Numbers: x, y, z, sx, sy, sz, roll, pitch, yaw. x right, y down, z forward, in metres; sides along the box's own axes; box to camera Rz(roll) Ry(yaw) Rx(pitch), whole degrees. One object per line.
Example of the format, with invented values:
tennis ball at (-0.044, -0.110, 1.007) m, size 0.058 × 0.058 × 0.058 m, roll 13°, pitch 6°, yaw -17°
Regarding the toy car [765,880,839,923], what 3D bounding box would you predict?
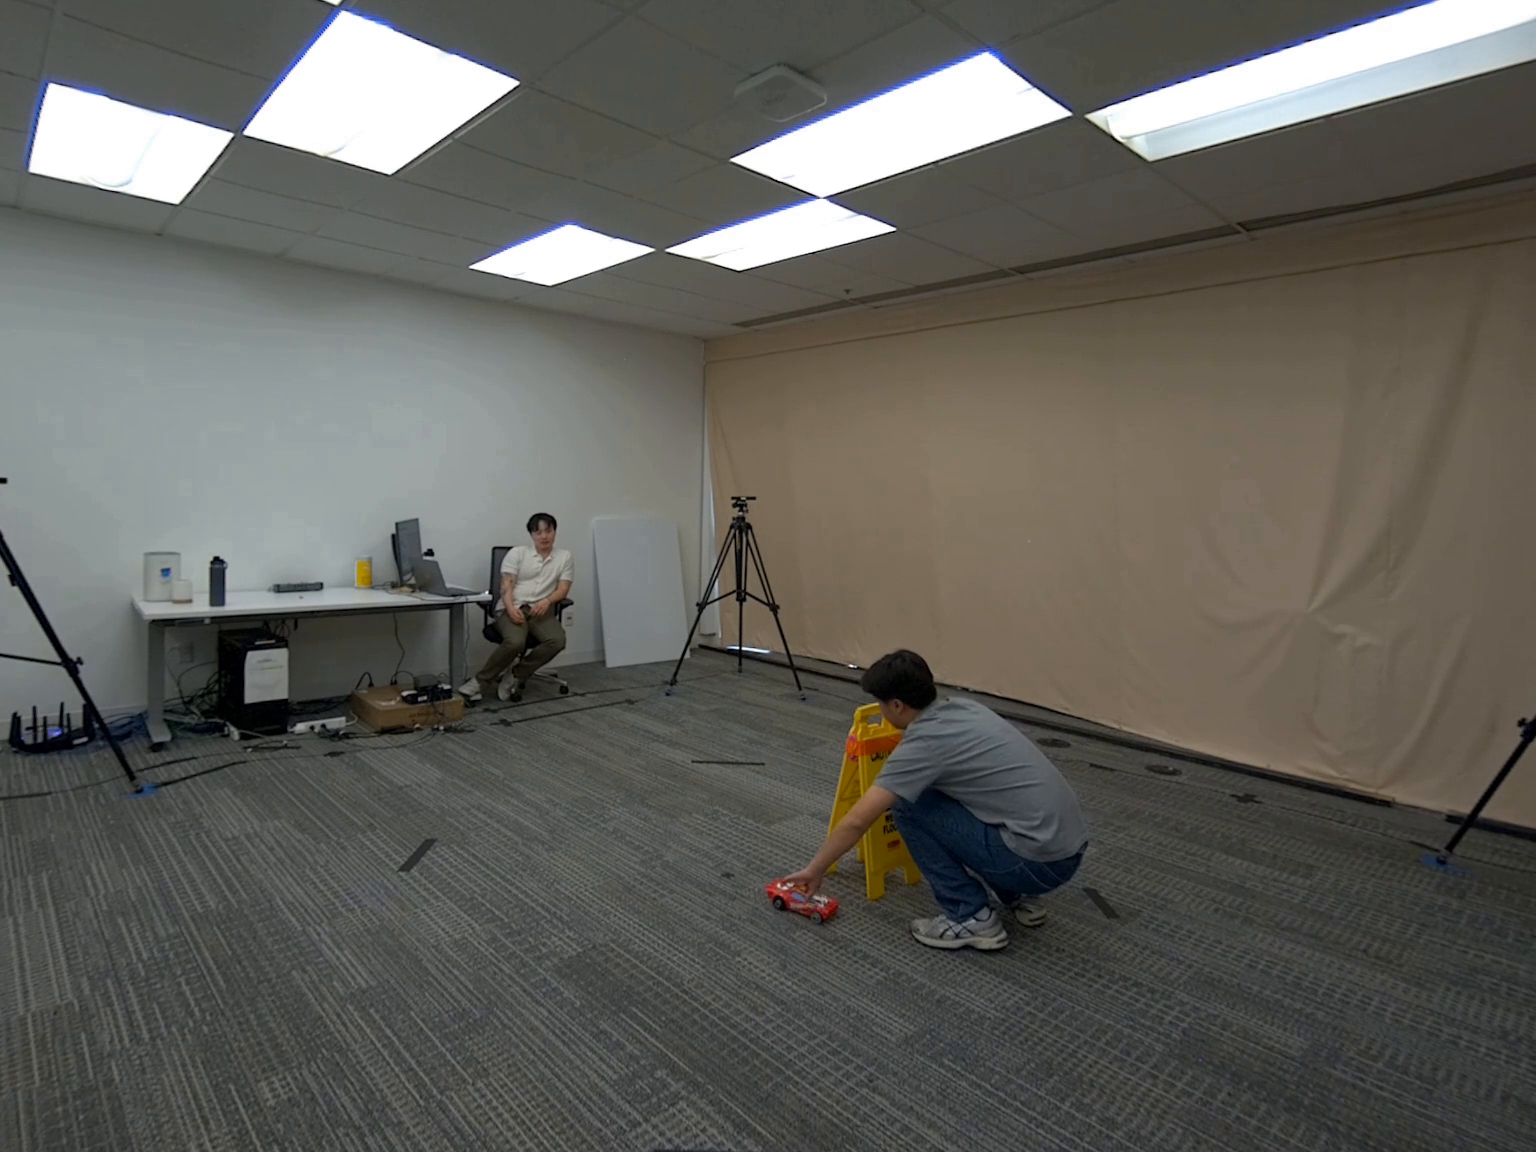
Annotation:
toy car at (0.107, 1.095, 2.868) m, size 0.261 × 0.083 × 0.127 m, roll 17°, pitch 12°, yaw 34°
